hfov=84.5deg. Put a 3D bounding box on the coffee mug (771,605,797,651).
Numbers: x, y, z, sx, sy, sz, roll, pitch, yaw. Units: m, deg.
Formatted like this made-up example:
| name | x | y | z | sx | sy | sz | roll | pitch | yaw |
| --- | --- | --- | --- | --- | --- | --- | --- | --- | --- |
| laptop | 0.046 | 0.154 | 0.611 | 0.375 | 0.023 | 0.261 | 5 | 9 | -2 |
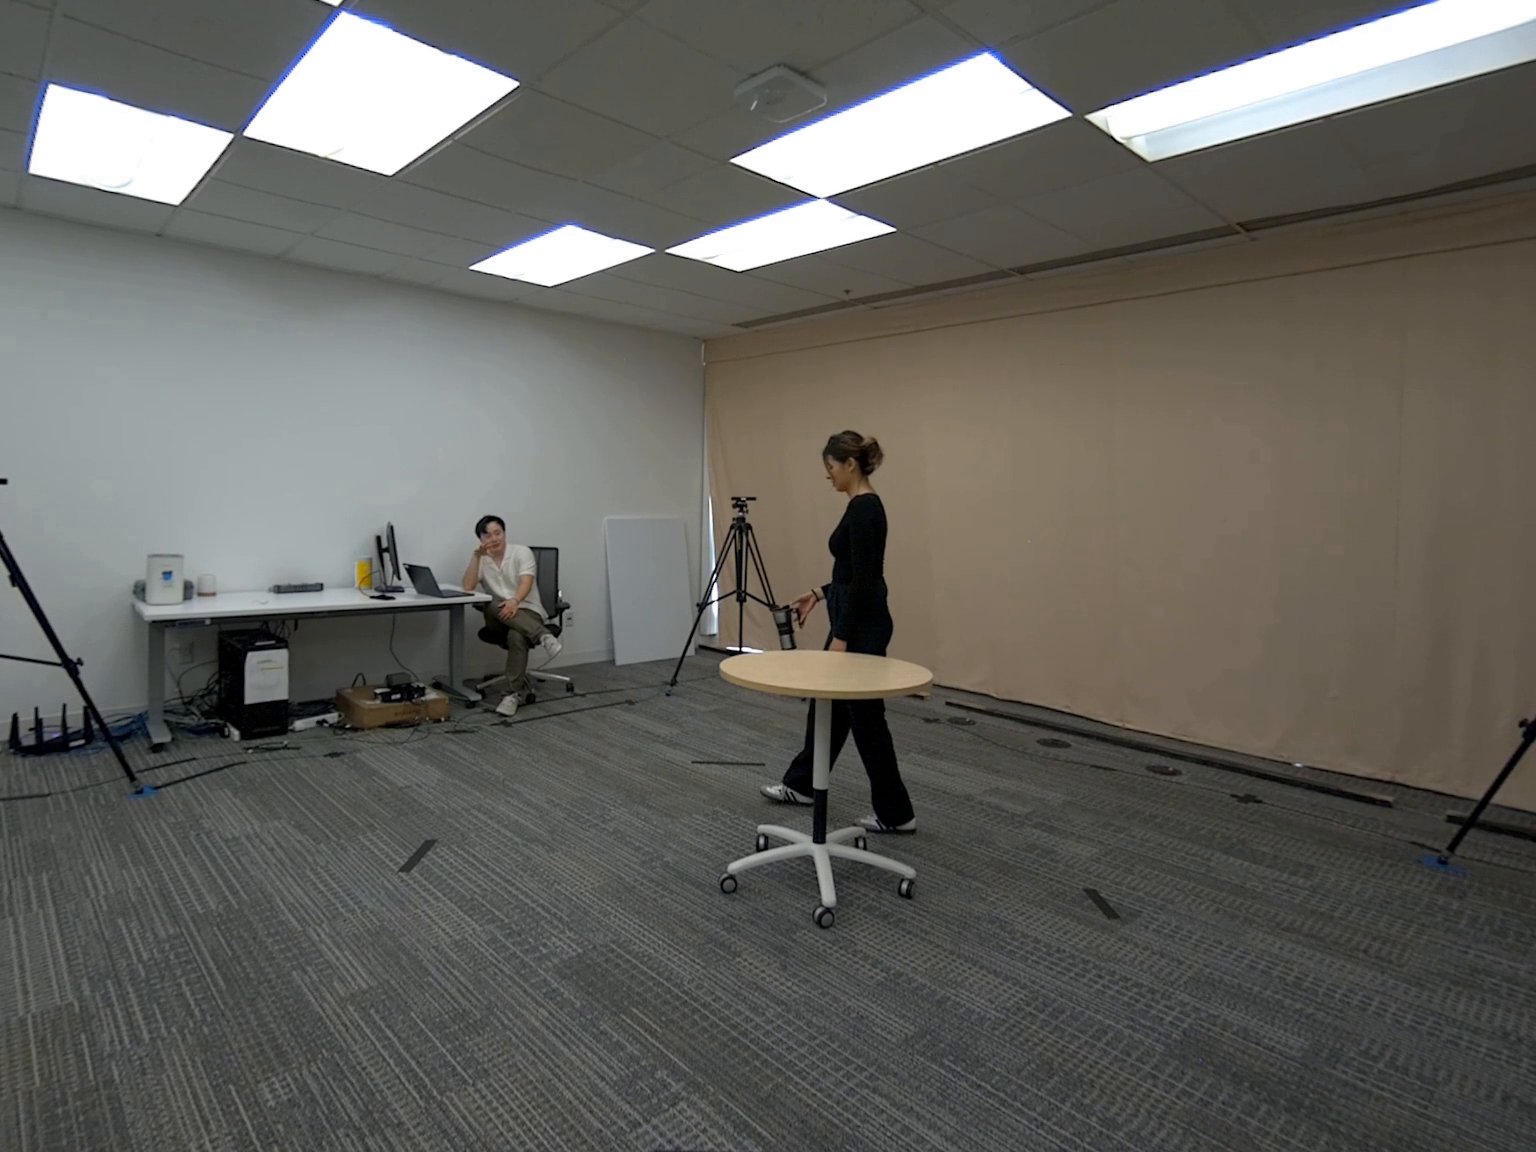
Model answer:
| name | x | y | z | sx | sy | sz | roll | pitch | yaw |
| --- | --- | --- | --- | --- | --- | --- | --- | --- | --- |
| coffee mug | 0.089 | 0.236 | 3.853 | 0.124 | 0.204 | 0.086 | -15 | -5 | 43 |
